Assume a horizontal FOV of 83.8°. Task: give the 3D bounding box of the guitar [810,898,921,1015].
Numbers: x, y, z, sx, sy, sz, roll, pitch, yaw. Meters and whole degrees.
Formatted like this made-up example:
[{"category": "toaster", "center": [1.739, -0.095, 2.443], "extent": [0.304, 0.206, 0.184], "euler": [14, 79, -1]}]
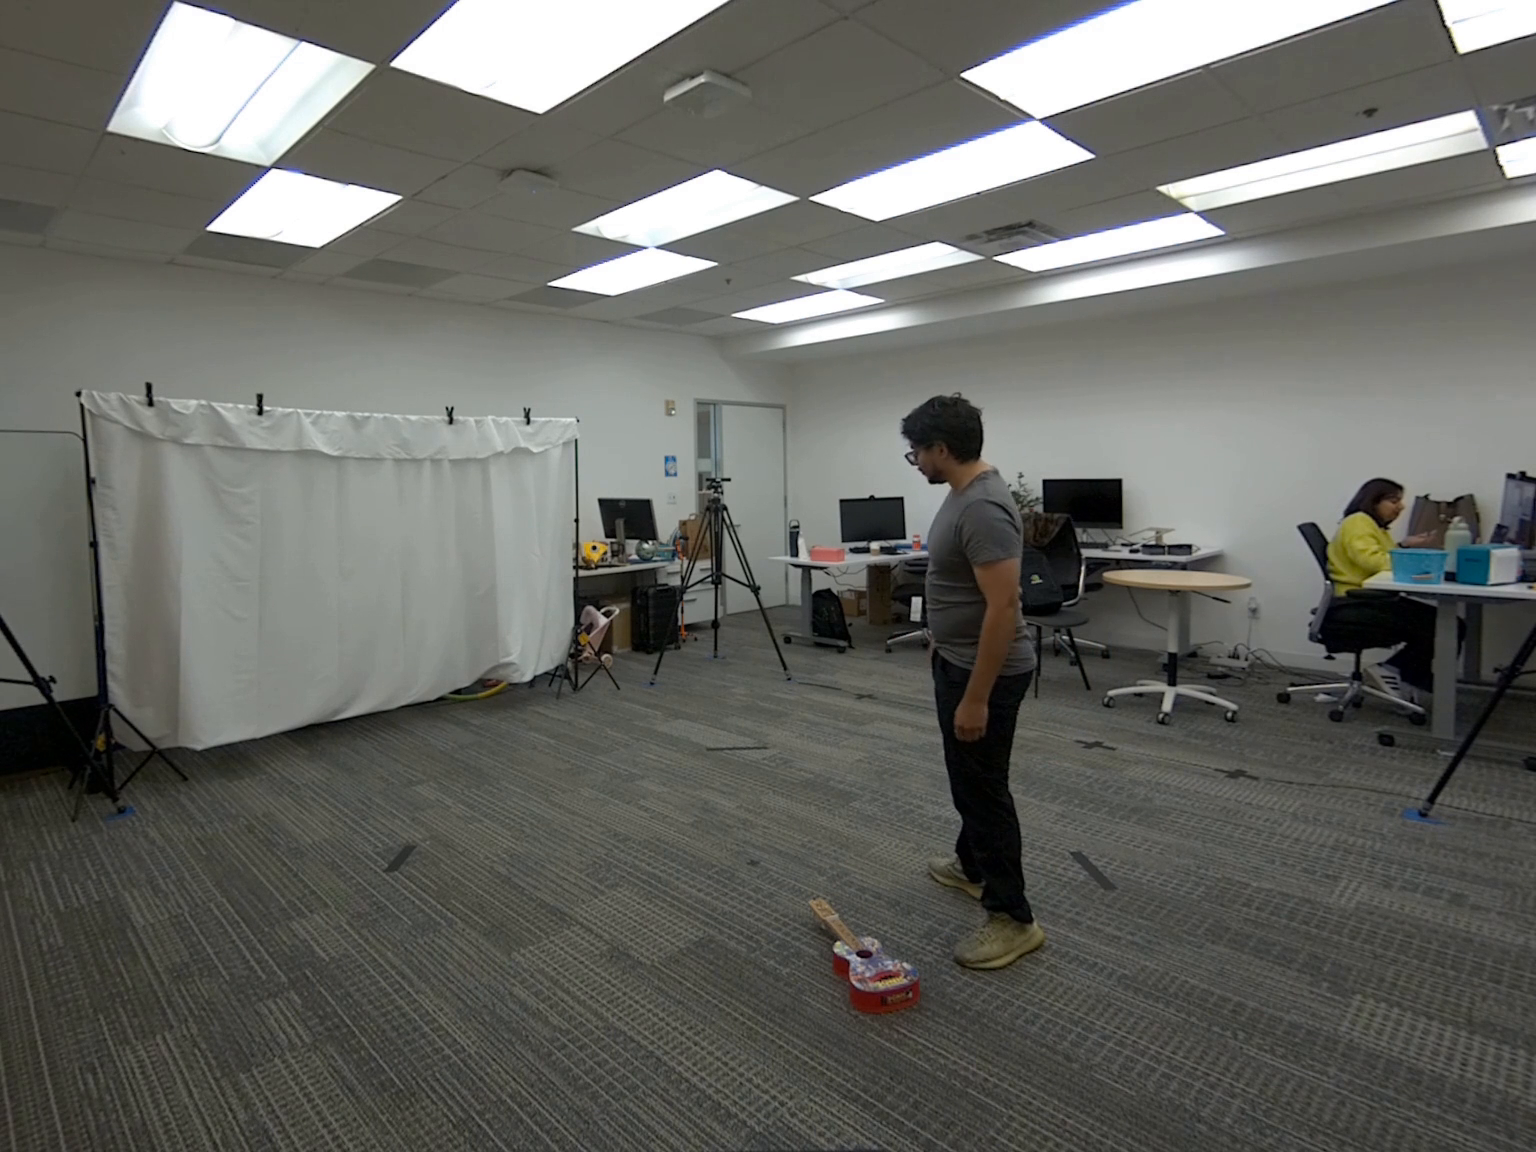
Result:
[{"category": "guitar", "center": [0.277, 1.078, 2.470], "extent": [0.191, 0.070, 0.505], "euler": [-3, 7, -12]}]
